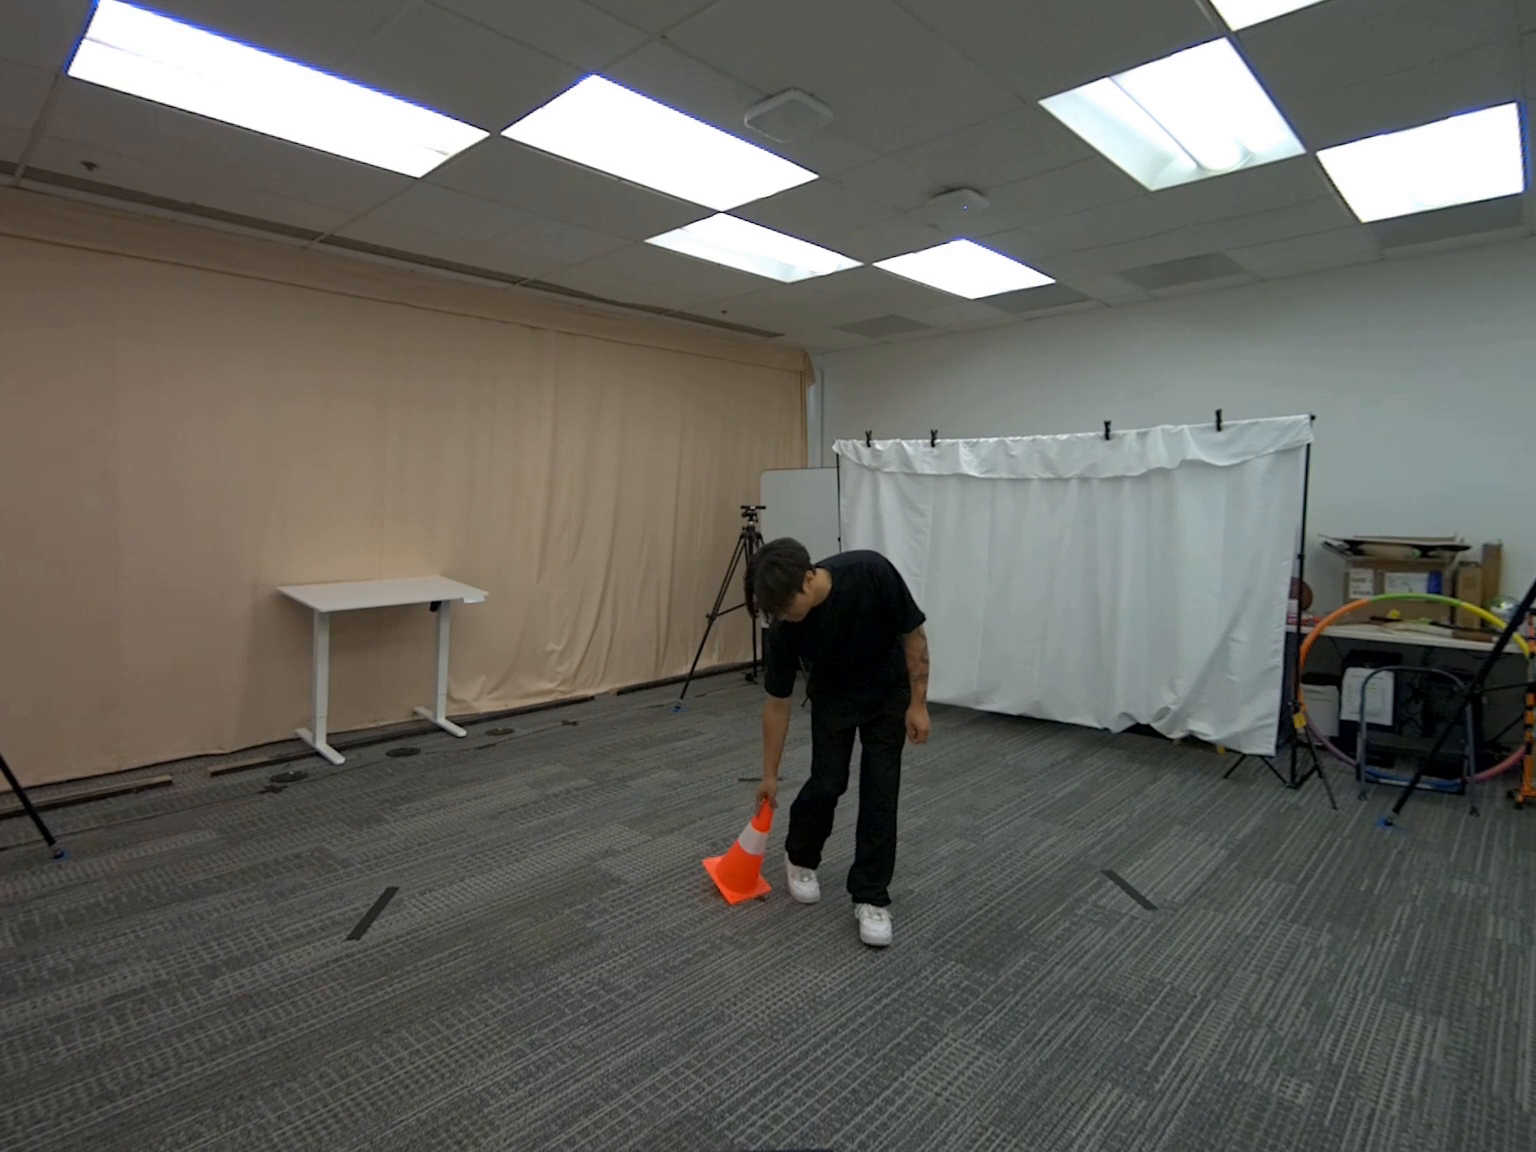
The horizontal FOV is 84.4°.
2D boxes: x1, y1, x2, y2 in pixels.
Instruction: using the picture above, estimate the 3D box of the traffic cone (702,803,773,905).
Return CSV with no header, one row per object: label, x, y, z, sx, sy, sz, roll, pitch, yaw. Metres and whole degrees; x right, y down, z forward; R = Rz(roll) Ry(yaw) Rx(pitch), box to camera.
traffic cone,-0.043,0.940,2.987,0.197,0.382,0.212,-1,29,-45
